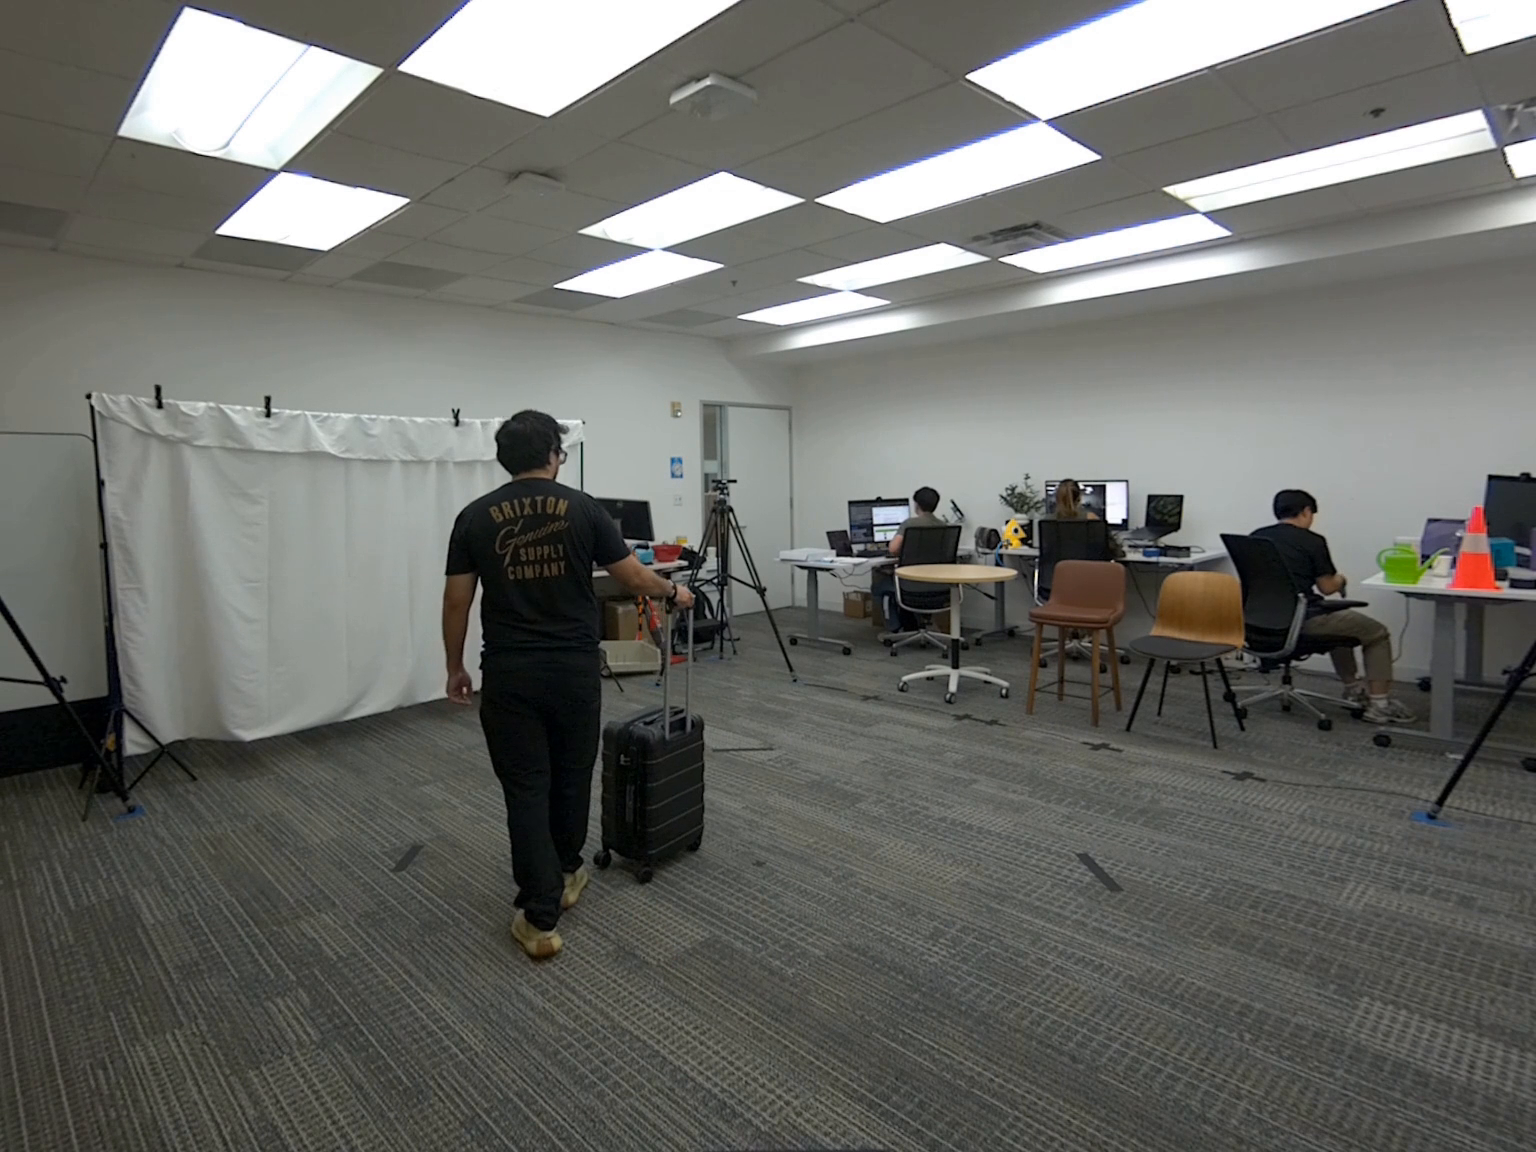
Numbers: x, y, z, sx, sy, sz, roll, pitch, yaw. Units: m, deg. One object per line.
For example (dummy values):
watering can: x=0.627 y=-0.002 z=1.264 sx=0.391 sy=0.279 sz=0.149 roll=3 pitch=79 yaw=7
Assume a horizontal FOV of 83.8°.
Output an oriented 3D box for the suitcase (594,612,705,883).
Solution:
suitcase: x=-0.421 y=0.569 z=3.143 sx=0.264 sy=0.976 sz=0.375 roll=2 pitch=4 yaw=31
